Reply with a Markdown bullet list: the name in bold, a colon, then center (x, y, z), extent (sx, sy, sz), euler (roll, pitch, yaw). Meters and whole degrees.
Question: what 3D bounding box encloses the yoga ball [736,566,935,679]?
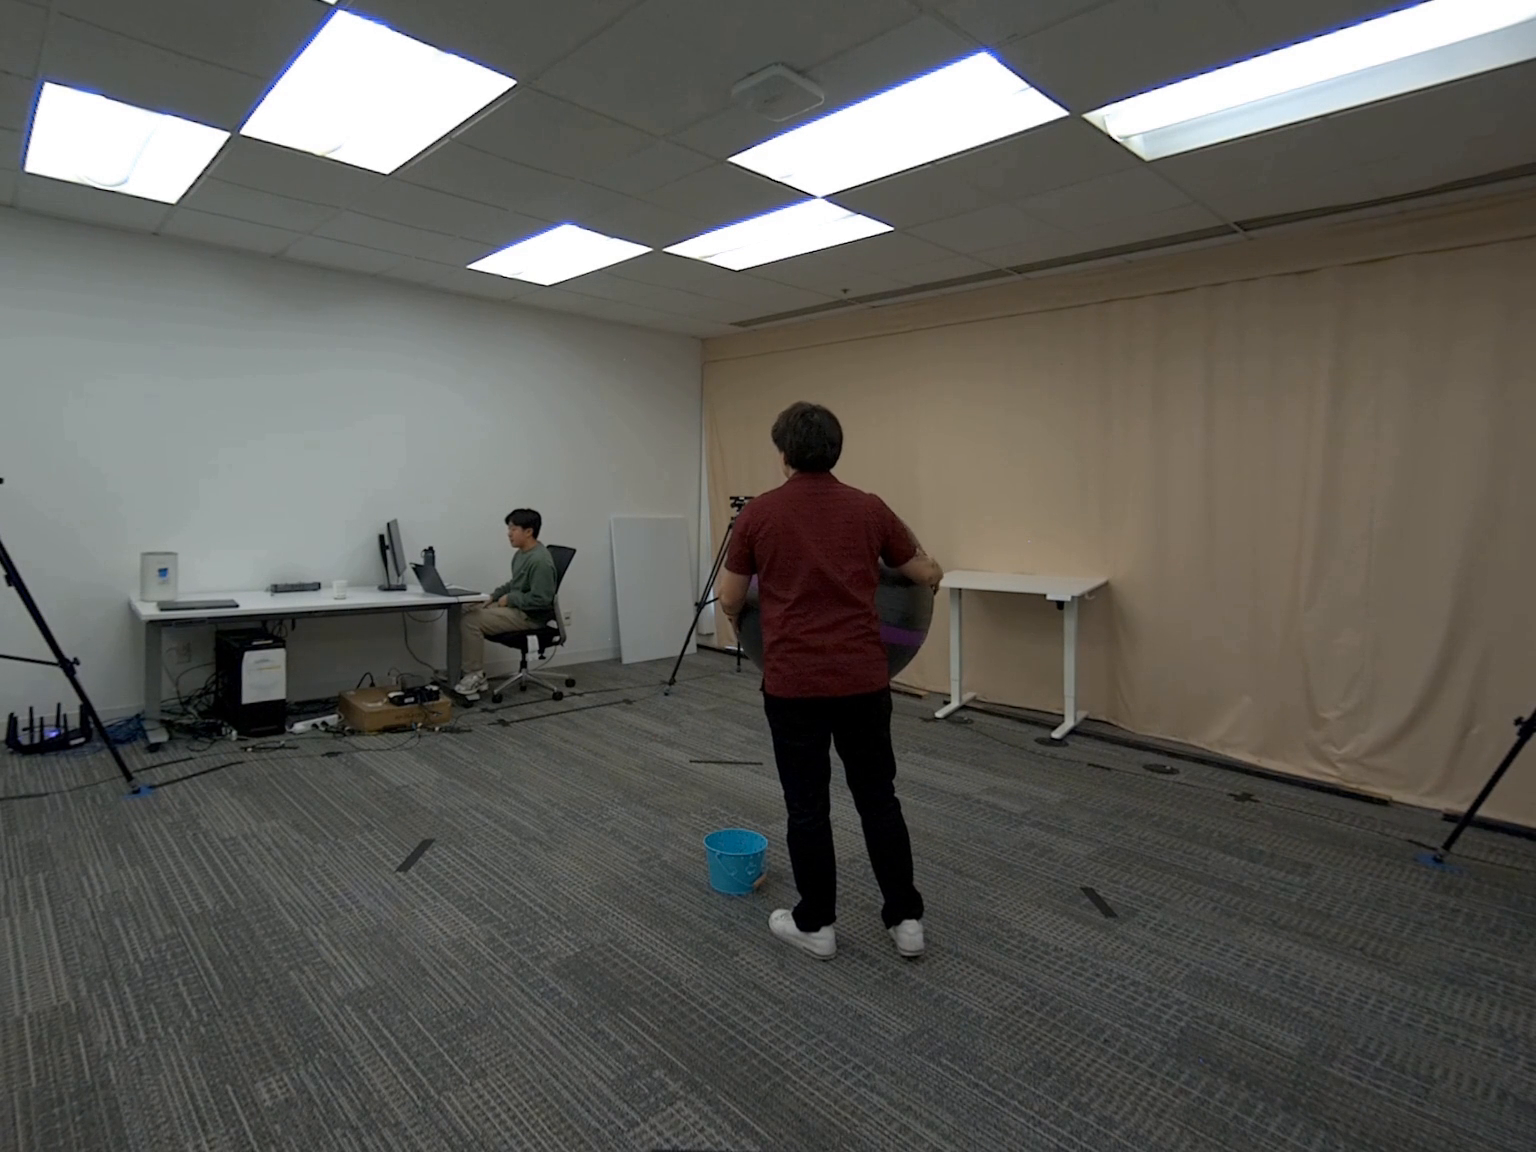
- **yoga ball**: center (0.220, 0.077, 3.119), extent (0.757, 0.756, 0.761), euler (1, 4, -1)
